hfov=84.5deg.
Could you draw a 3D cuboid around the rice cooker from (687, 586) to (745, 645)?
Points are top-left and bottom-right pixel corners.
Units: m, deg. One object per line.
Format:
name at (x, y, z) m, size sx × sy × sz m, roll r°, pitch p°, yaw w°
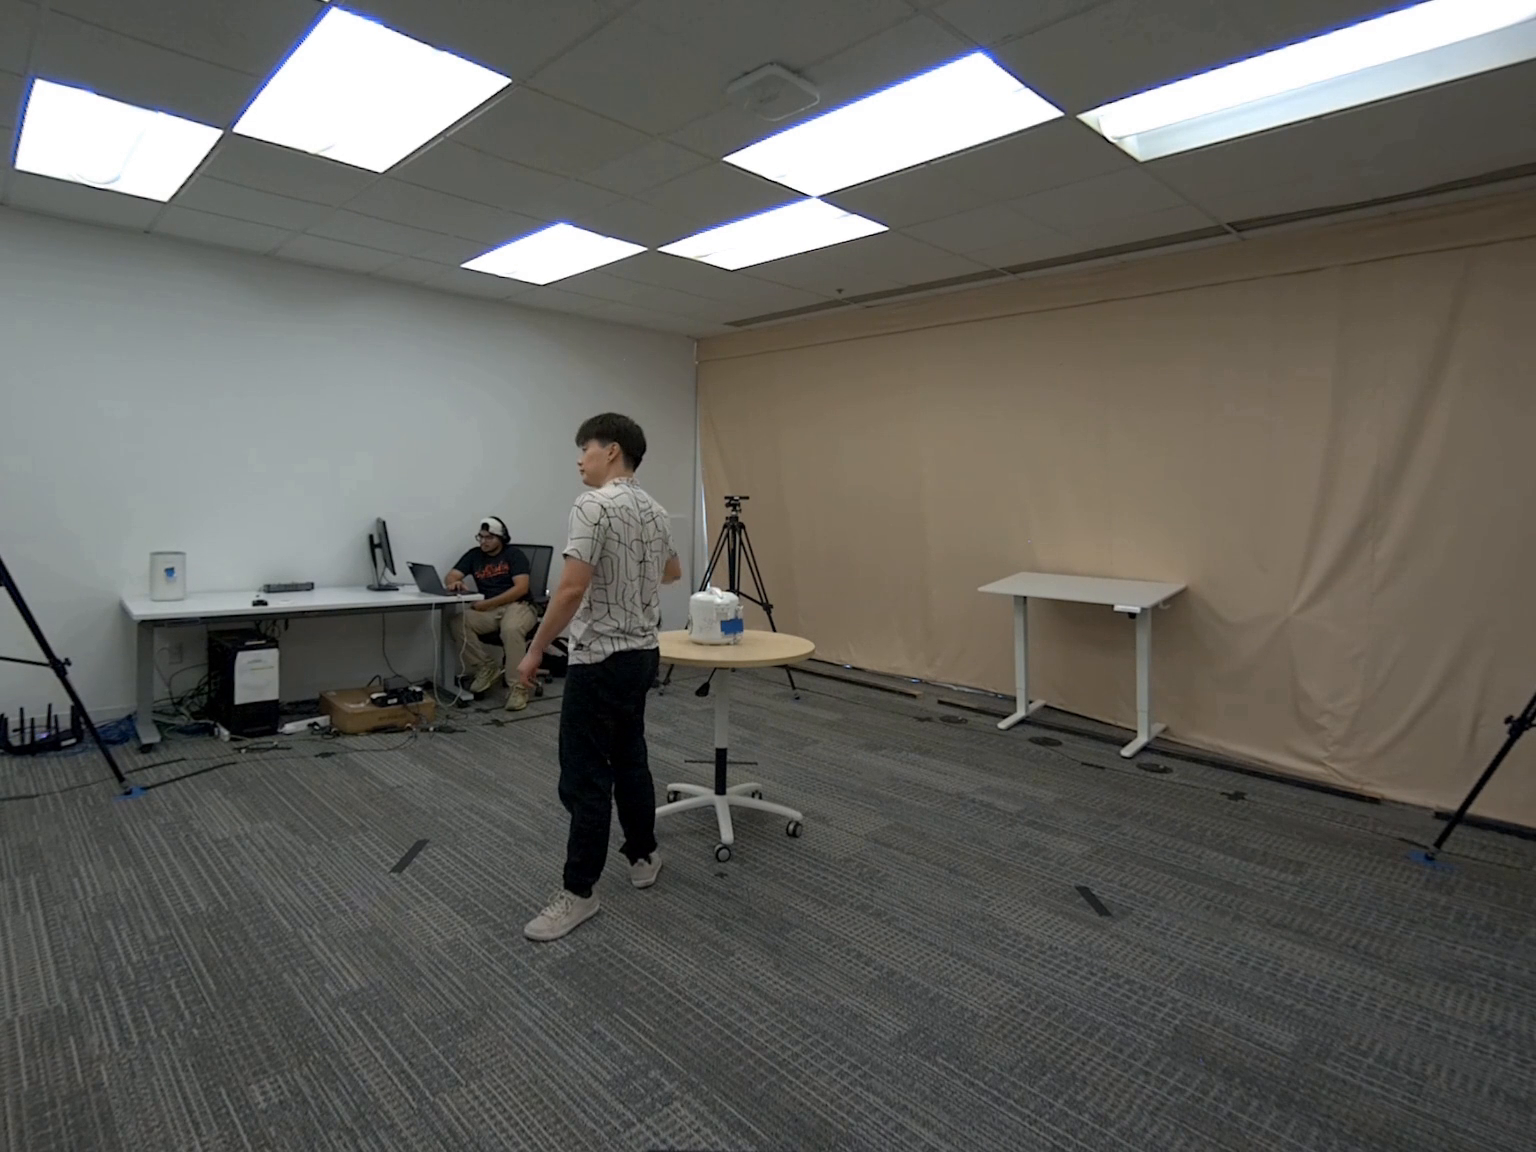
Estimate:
rice cooker at (-0.231, 0.162, 3.542) m, size 0.214 × 0.232 × 0.224 m, roll 1°, pitch 3°, yaw -19°
